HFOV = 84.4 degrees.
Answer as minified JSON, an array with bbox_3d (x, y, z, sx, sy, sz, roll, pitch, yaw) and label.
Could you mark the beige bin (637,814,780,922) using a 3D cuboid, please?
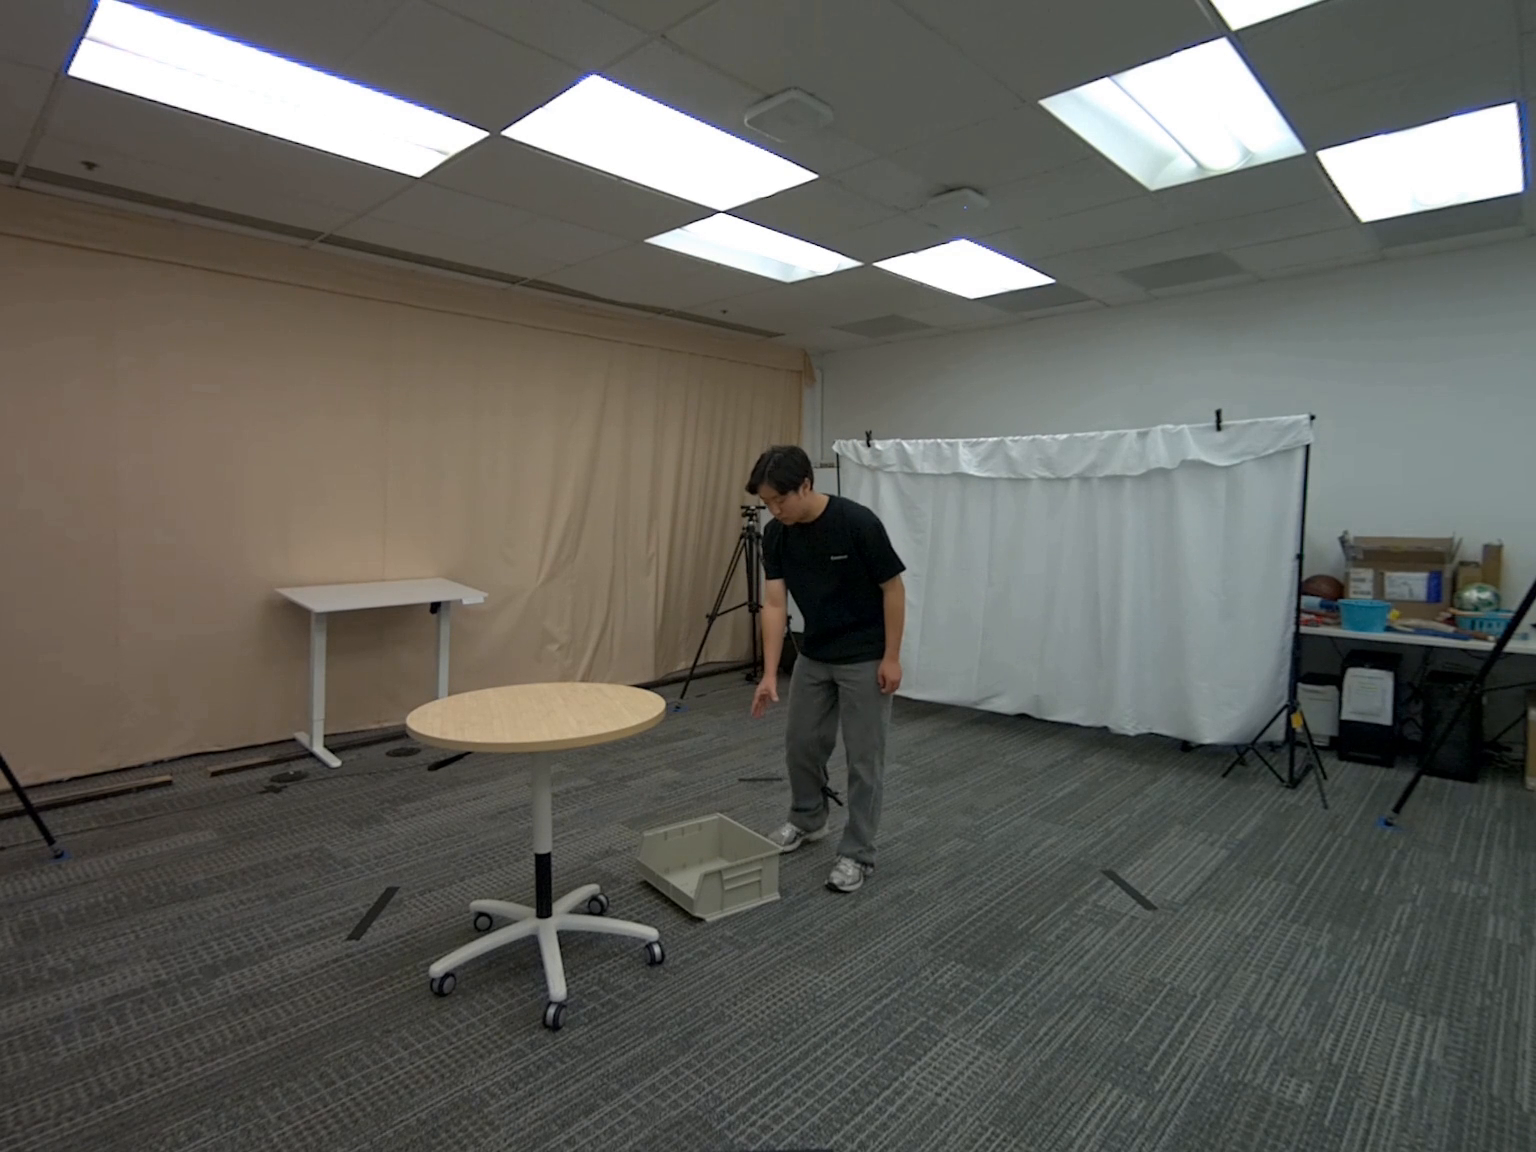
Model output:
[{"bbox_3d":[-0.216,1.050,3.053,0.366,0.188,0.436,-3,5,-35],"label":"beige bin"}]
